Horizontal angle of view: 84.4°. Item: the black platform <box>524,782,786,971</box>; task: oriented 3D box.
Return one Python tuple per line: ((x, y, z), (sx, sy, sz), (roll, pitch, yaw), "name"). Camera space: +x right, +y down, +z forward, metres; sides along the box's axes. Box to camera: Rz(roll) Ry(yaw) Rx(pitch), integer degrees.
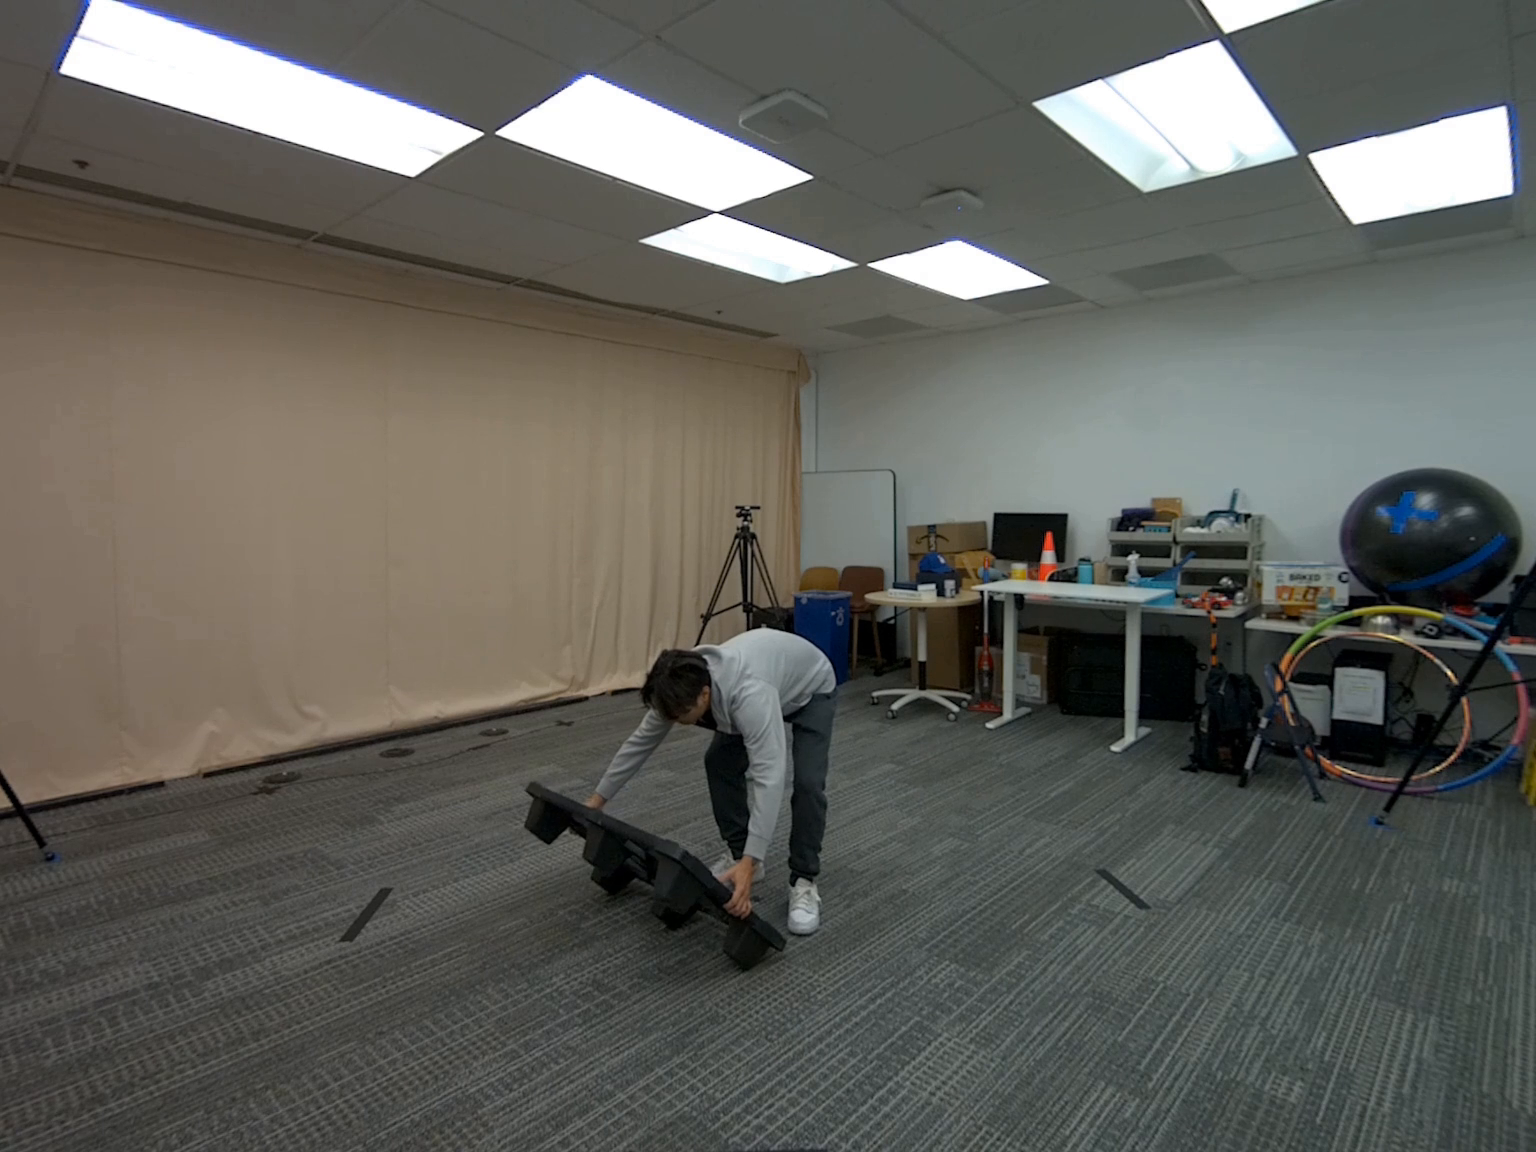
((-0.401, 0.951, 2.678), (0.832, 0.143, 0.587), (3, -40, 45), "black platform")
